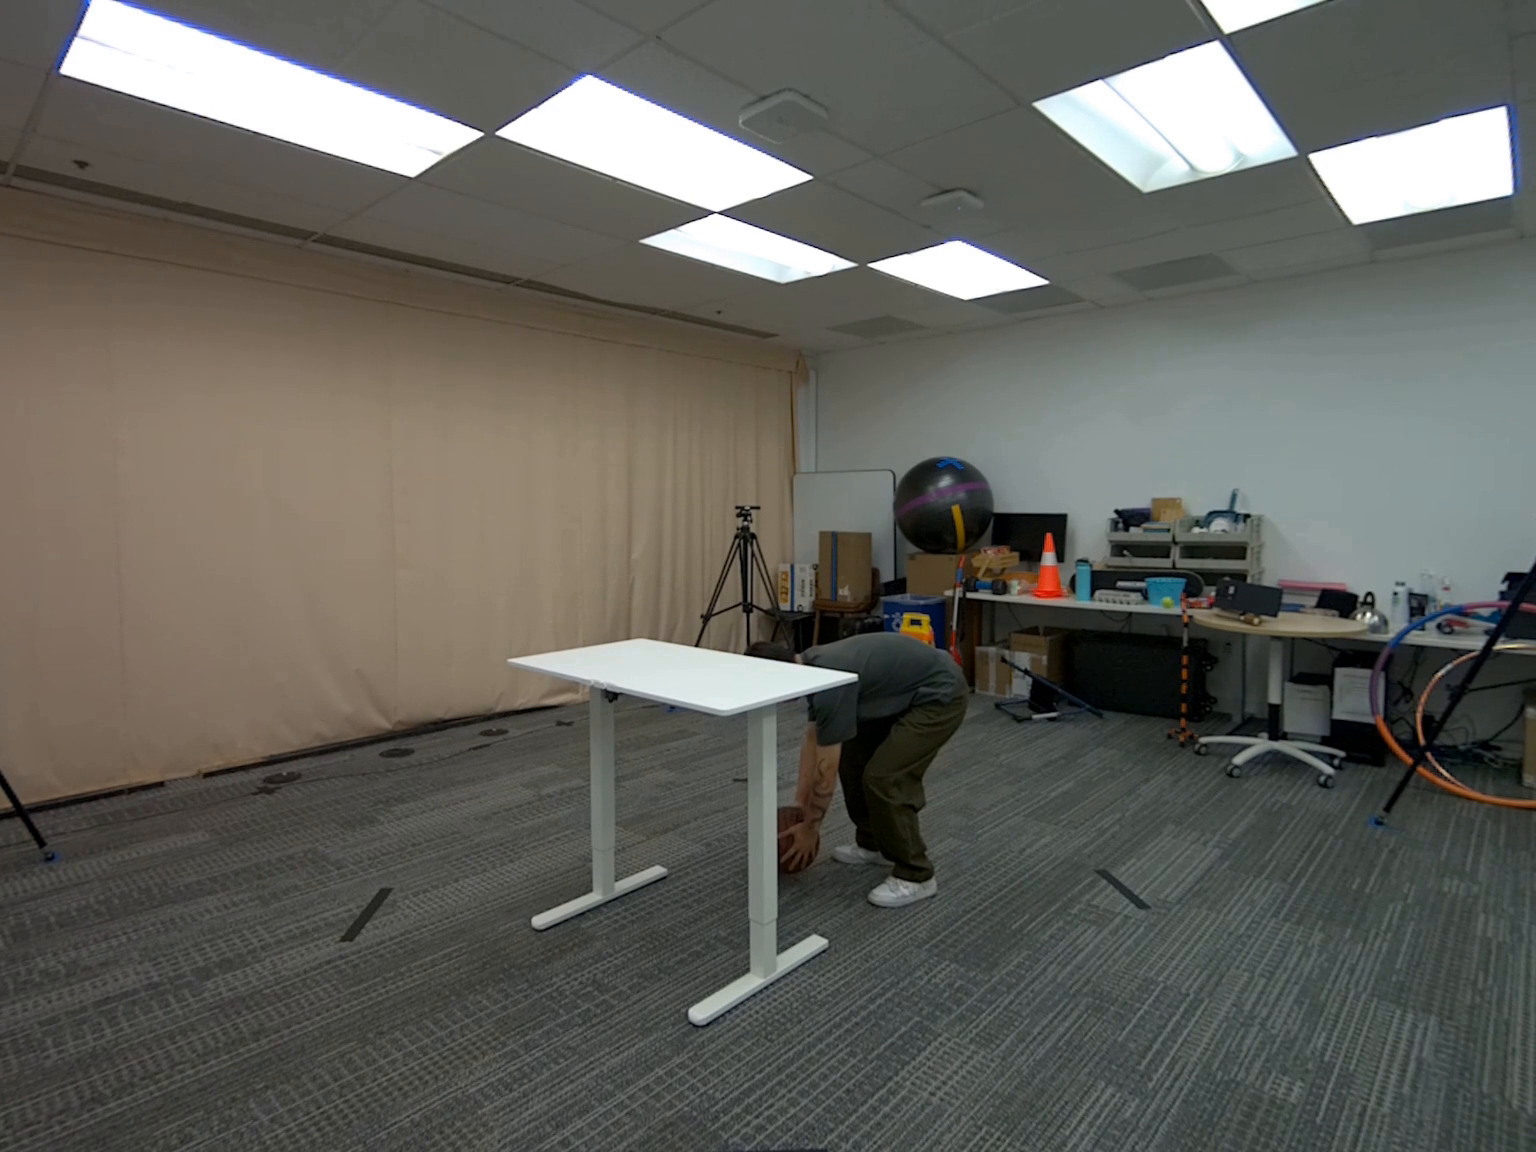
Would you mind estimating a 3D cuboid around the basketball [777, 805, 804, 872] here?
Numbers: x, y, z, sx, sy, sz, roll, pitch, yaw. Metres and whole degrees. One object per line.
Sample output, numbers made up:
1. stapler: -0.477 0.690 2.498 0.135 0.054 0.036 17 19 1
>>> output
1. basketball: 0.067 0.984 3.136 0.236 0.235 0.237 0 4 -2
